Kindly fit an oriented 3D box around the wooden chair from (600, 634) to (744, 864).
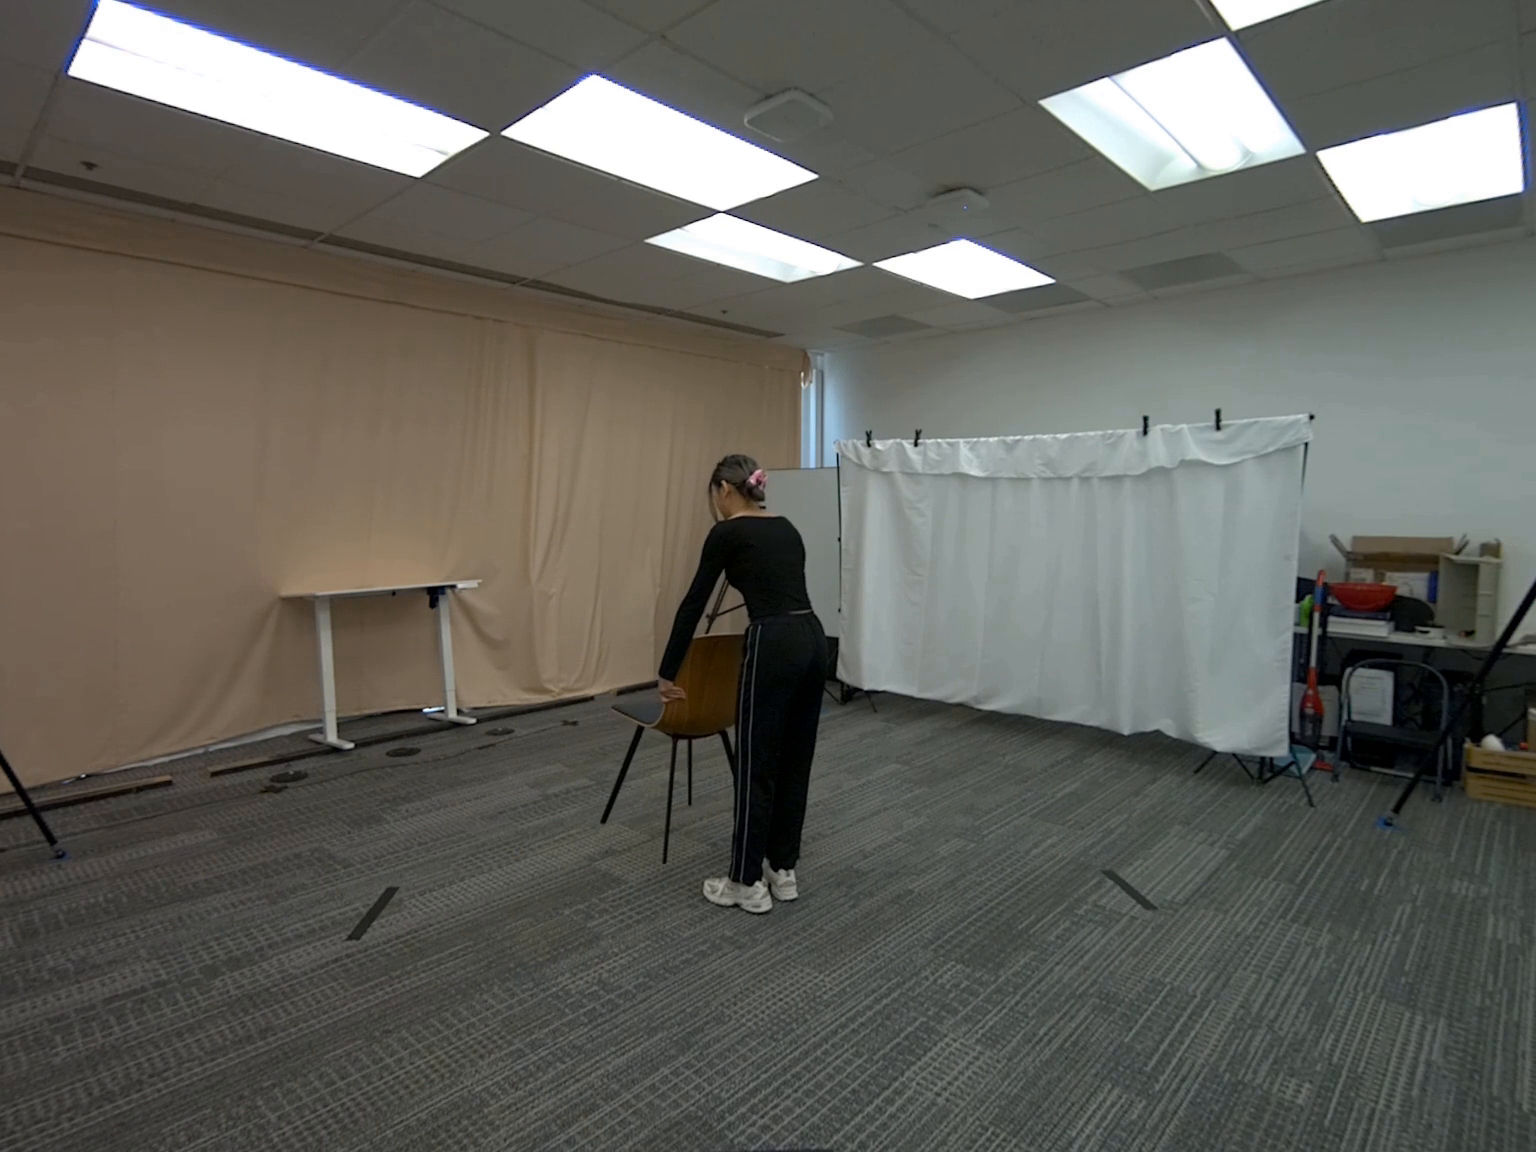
[{"bbox_3d":[-0.339,0.598,3.345,0.463,0.874,0.542,1,9,-39],"label":"wooden chair"}]
